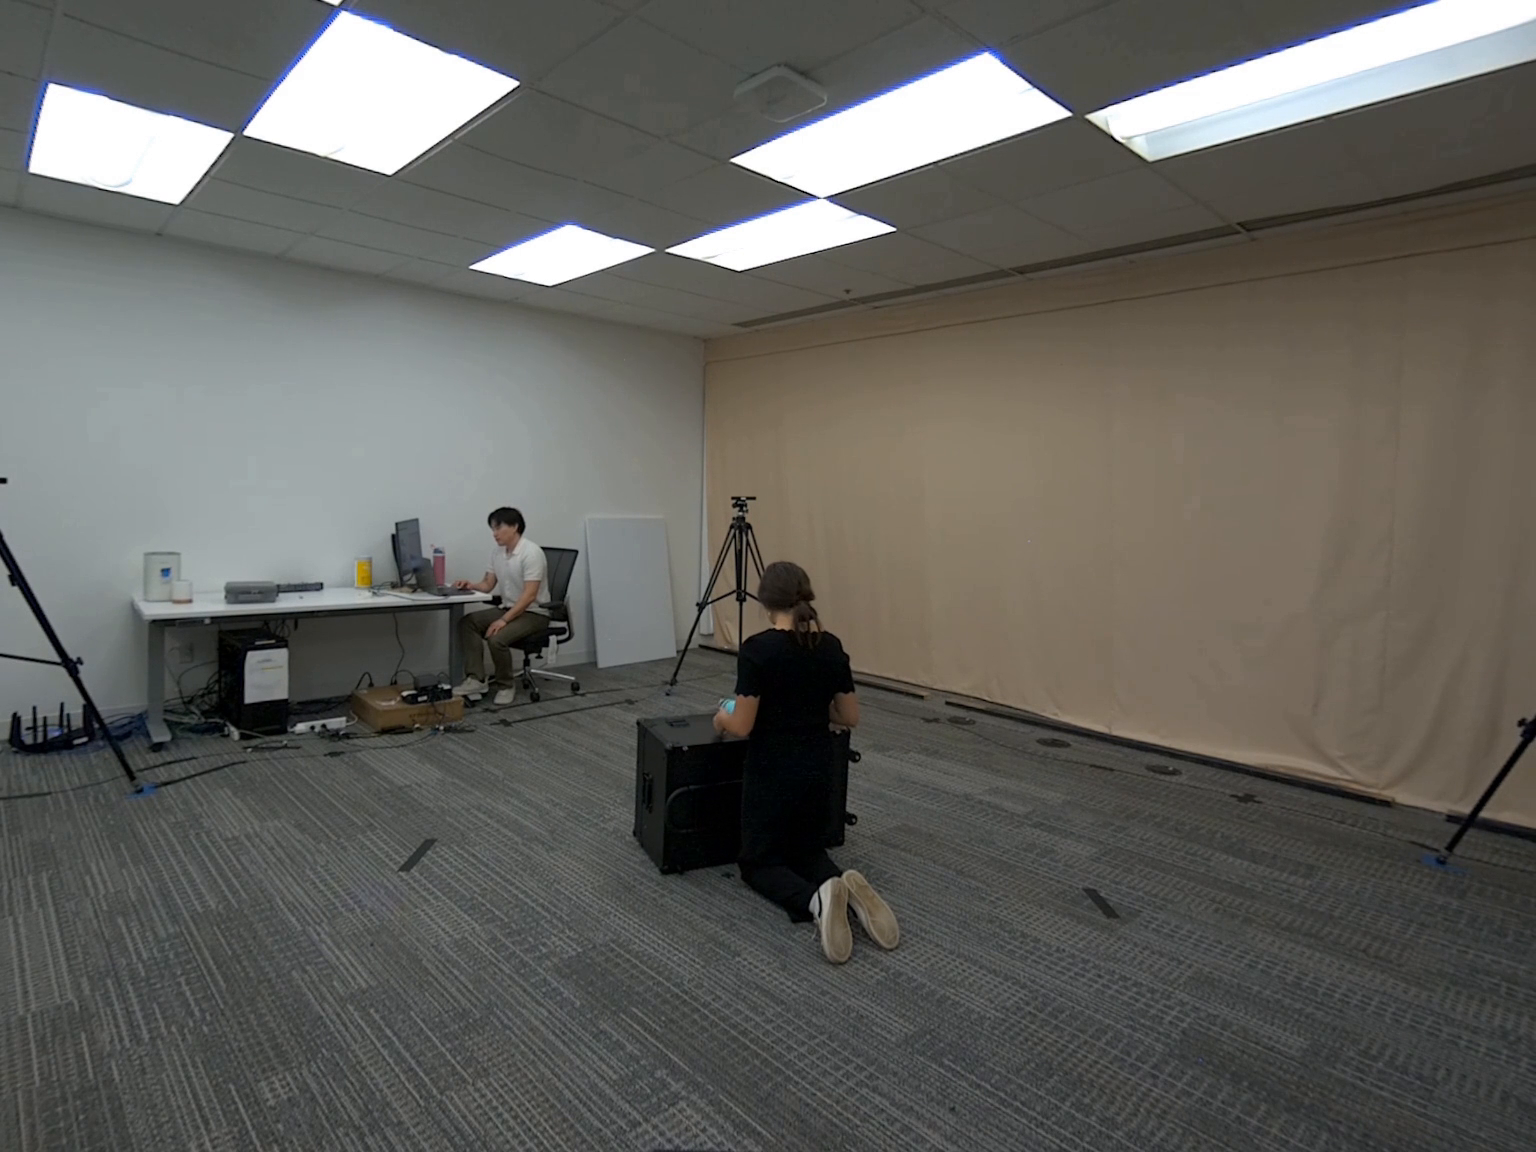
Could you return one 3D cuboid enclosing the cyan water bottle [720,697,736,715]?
[{"bbox_3d":[-0.100,0.554,3.321,0.090,0.092,0.291,-2,9,-38],"label":"cyan water bottle"}]
